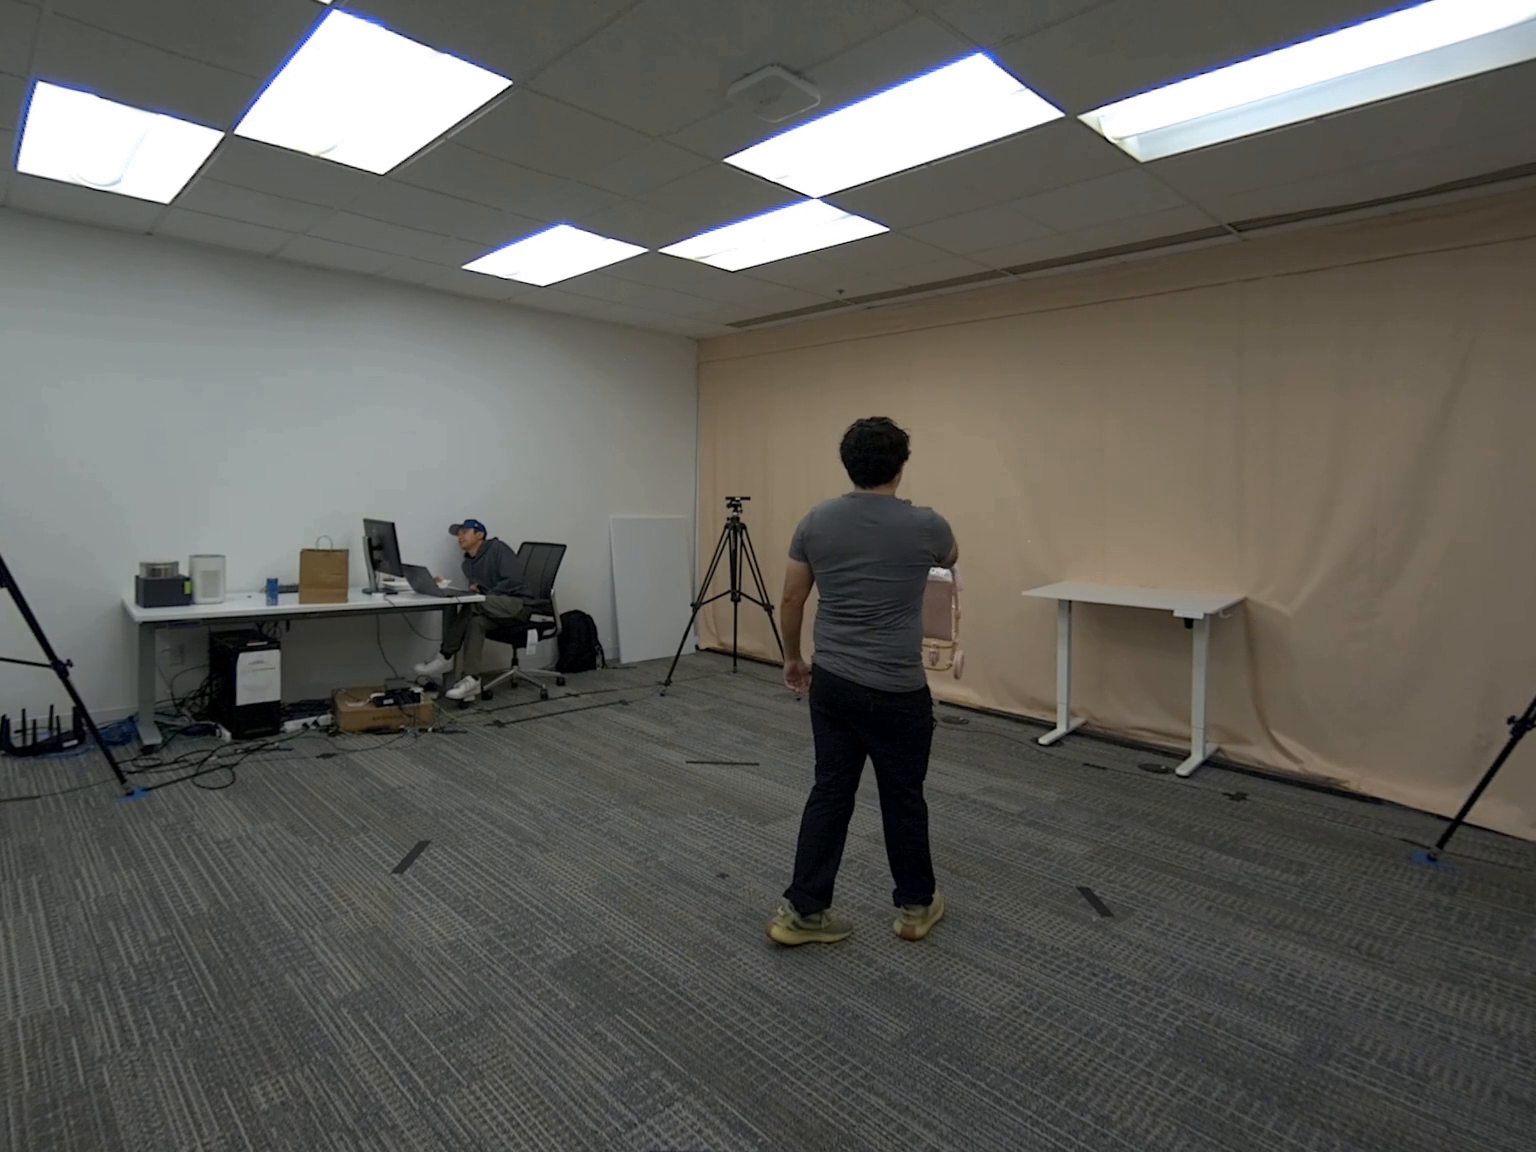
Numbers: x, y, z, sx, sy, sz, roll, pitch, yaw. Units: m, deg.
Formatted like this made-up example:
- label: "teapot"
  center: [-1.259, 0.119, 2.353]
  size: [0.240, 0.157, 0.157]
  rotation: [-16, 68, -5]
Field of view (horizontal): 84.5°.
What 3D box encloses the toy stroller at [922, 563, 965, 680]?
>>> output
- label: "toy stroller"
  center: [0.638, 0.148, 3.302]
  size: [0.287, 0.530, 0.338]
  rotation: [5, 15, 25]
